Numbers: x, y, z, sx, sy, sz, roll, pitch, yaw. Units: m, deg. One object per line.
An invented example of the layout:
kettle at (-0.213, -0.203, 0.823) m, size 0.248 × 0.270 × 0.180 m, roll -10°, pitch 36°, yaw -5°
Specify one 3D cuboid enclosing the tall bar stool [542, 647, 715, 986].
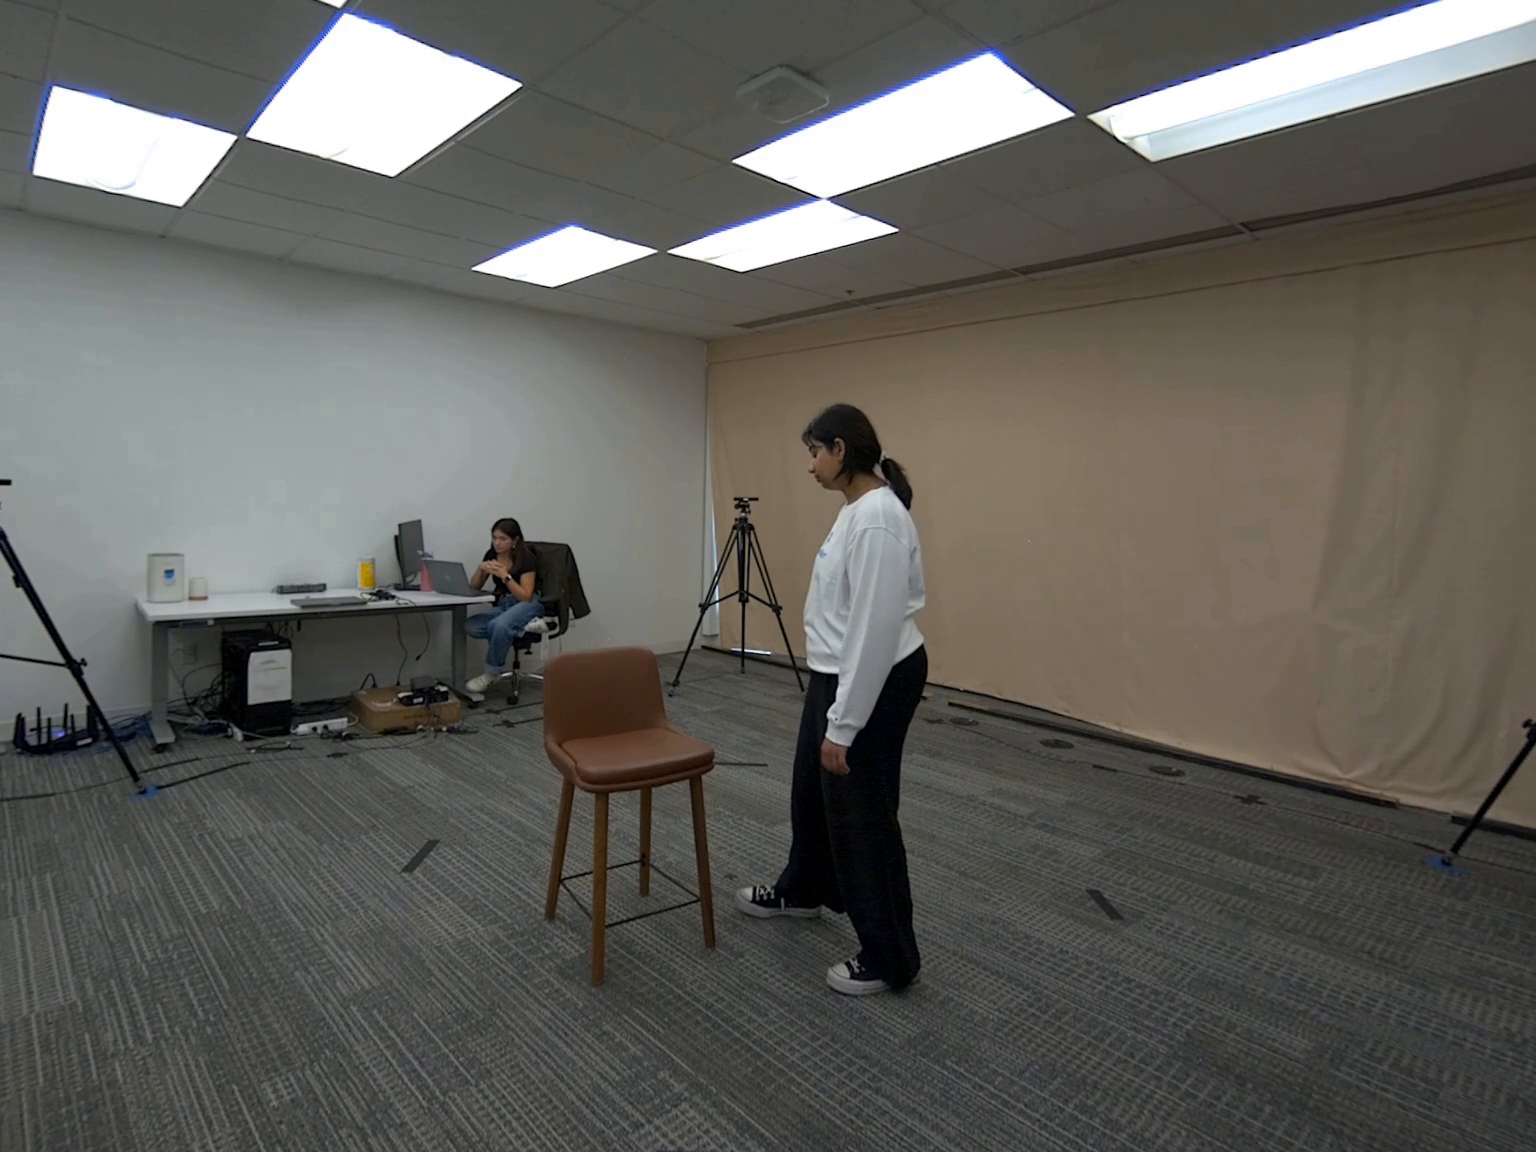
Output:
tall bar stool at (-0.450, 0.707, 2.665) m, size 0.447 × 0.889 × 0.478 m, roll -1°, pitch 2°, yaw -34°
